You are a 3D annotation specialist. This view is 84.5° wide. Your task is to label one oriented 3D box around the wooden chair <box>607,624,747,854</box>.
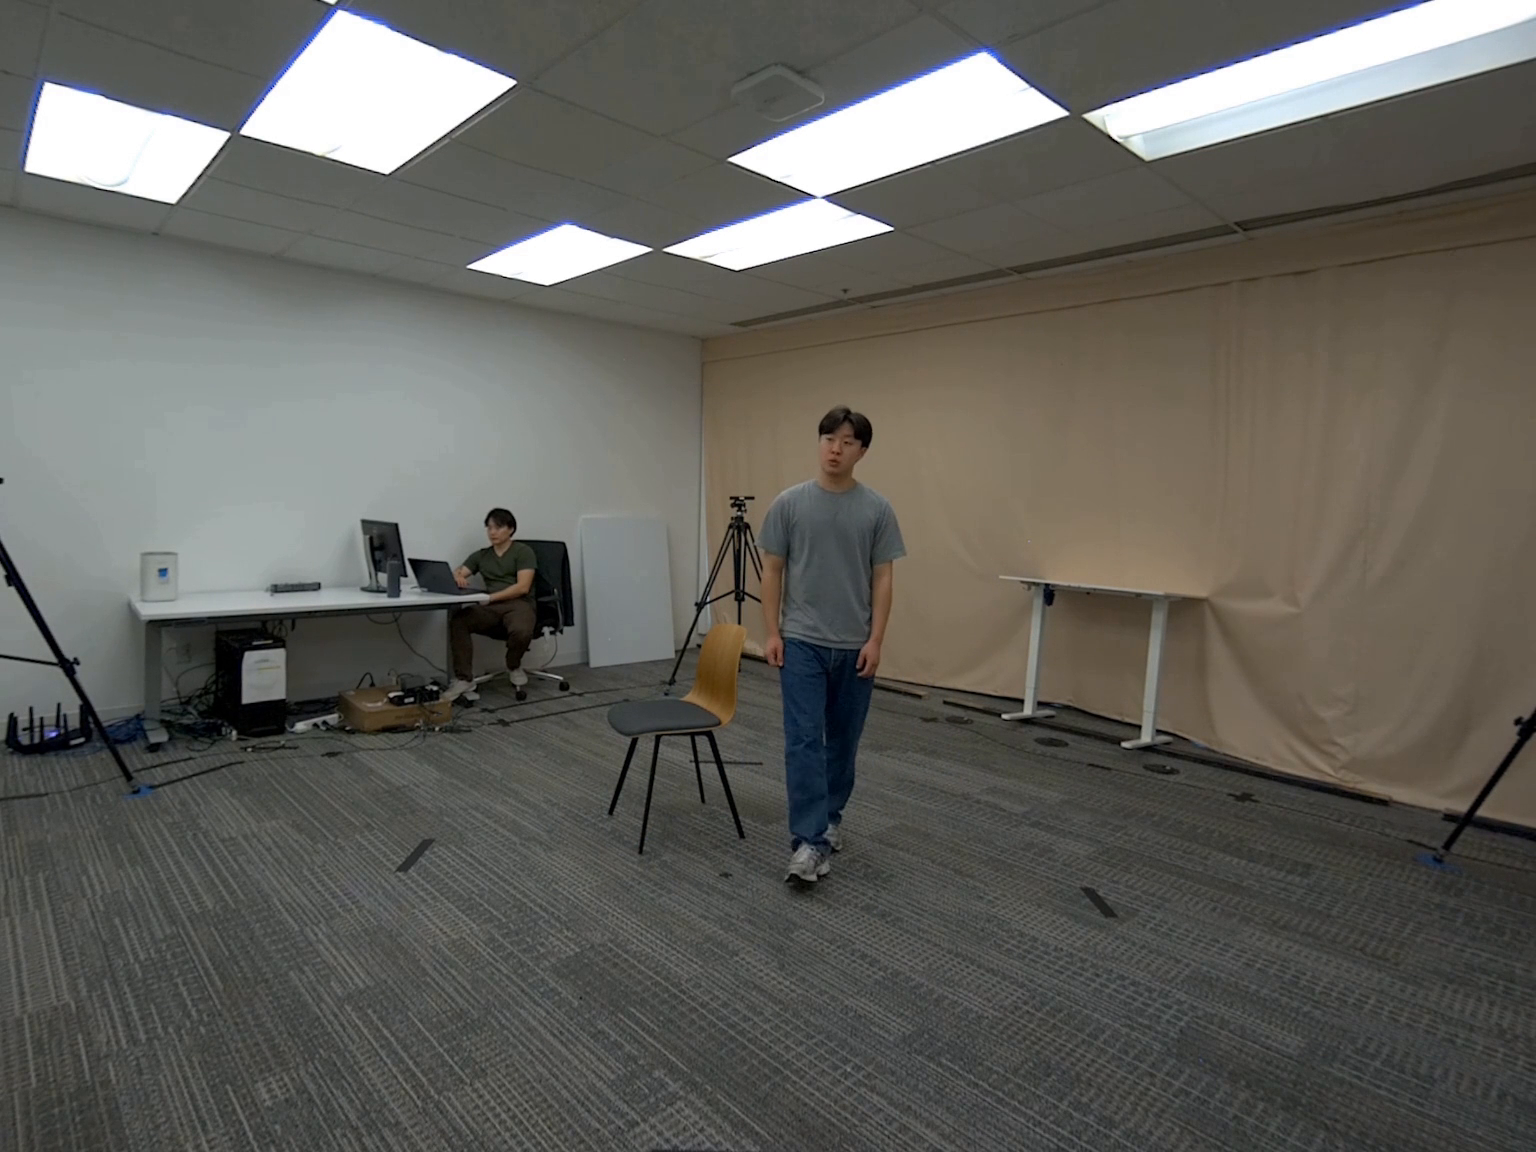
[{"bbox_3d":[-0.396,0.633,3.524,0.513,0.876,0.488,4,2,-26],"label":"wooden chair"}]
